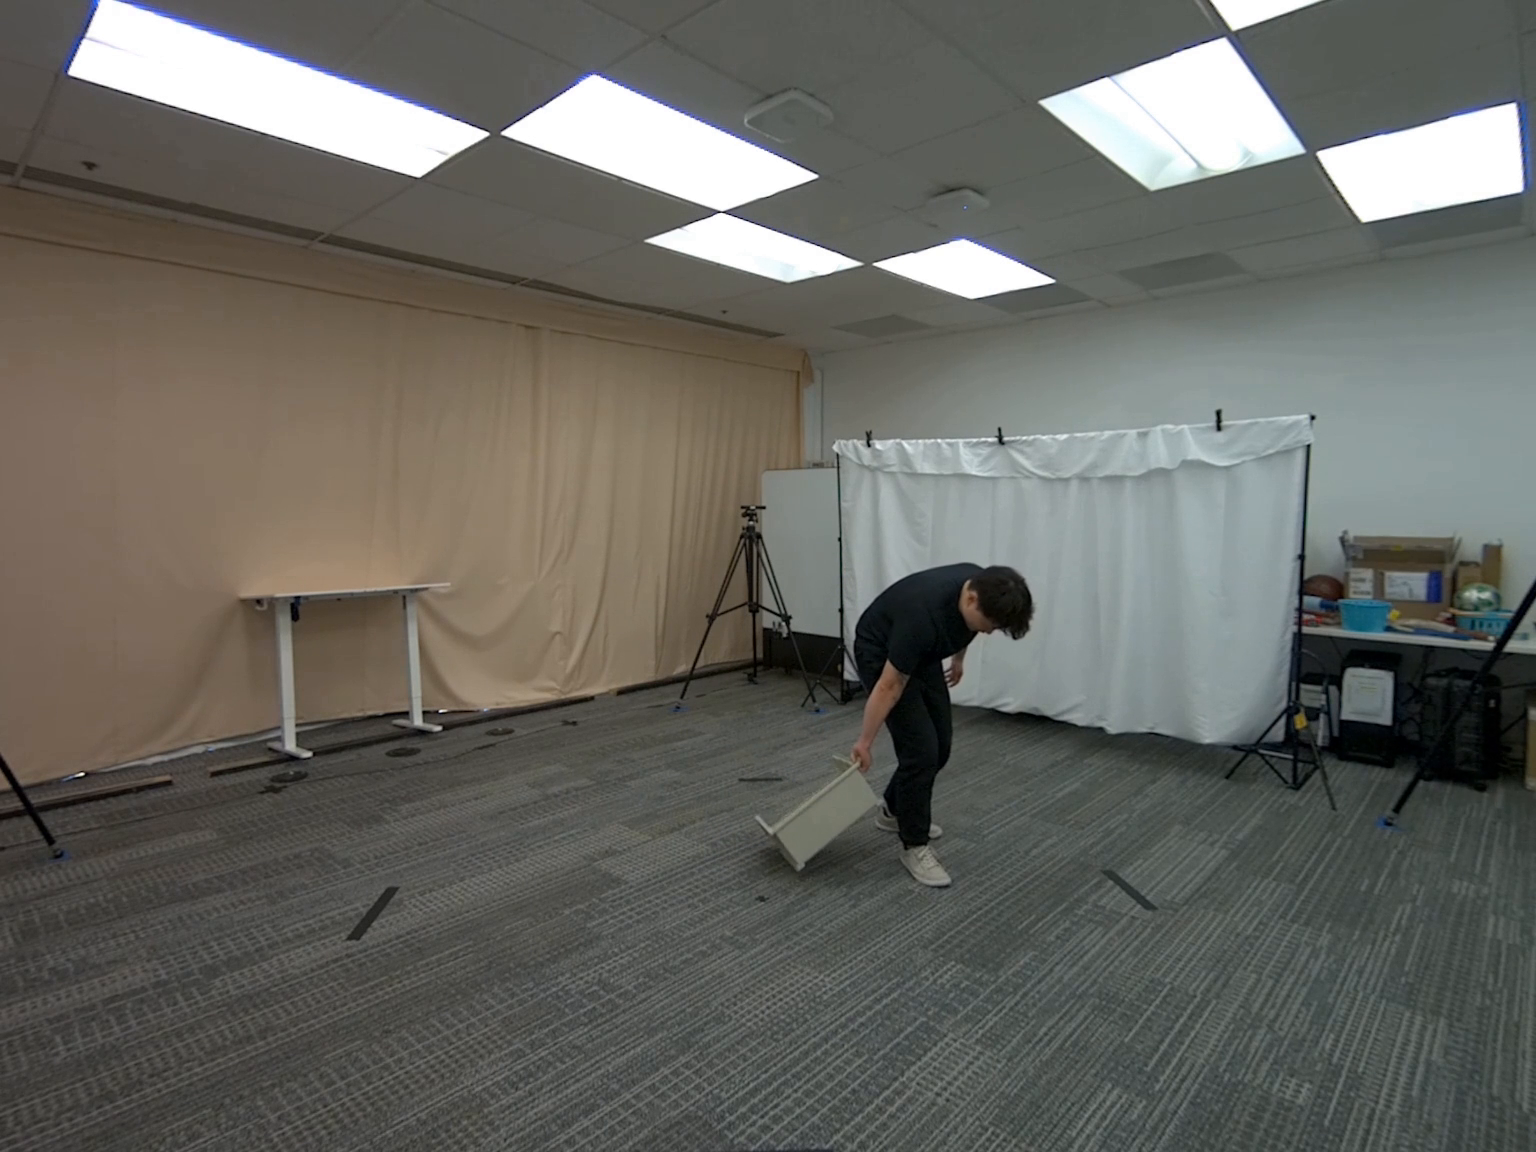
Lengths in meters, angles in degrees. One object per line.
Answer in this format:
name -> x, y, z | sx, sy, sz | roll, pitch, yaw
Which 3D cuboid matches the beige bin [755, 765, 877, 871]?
beige bin -> 0.185, 0.912, 3.289 | 0.420, 0.189, 0.380 | -36, 2, -12
